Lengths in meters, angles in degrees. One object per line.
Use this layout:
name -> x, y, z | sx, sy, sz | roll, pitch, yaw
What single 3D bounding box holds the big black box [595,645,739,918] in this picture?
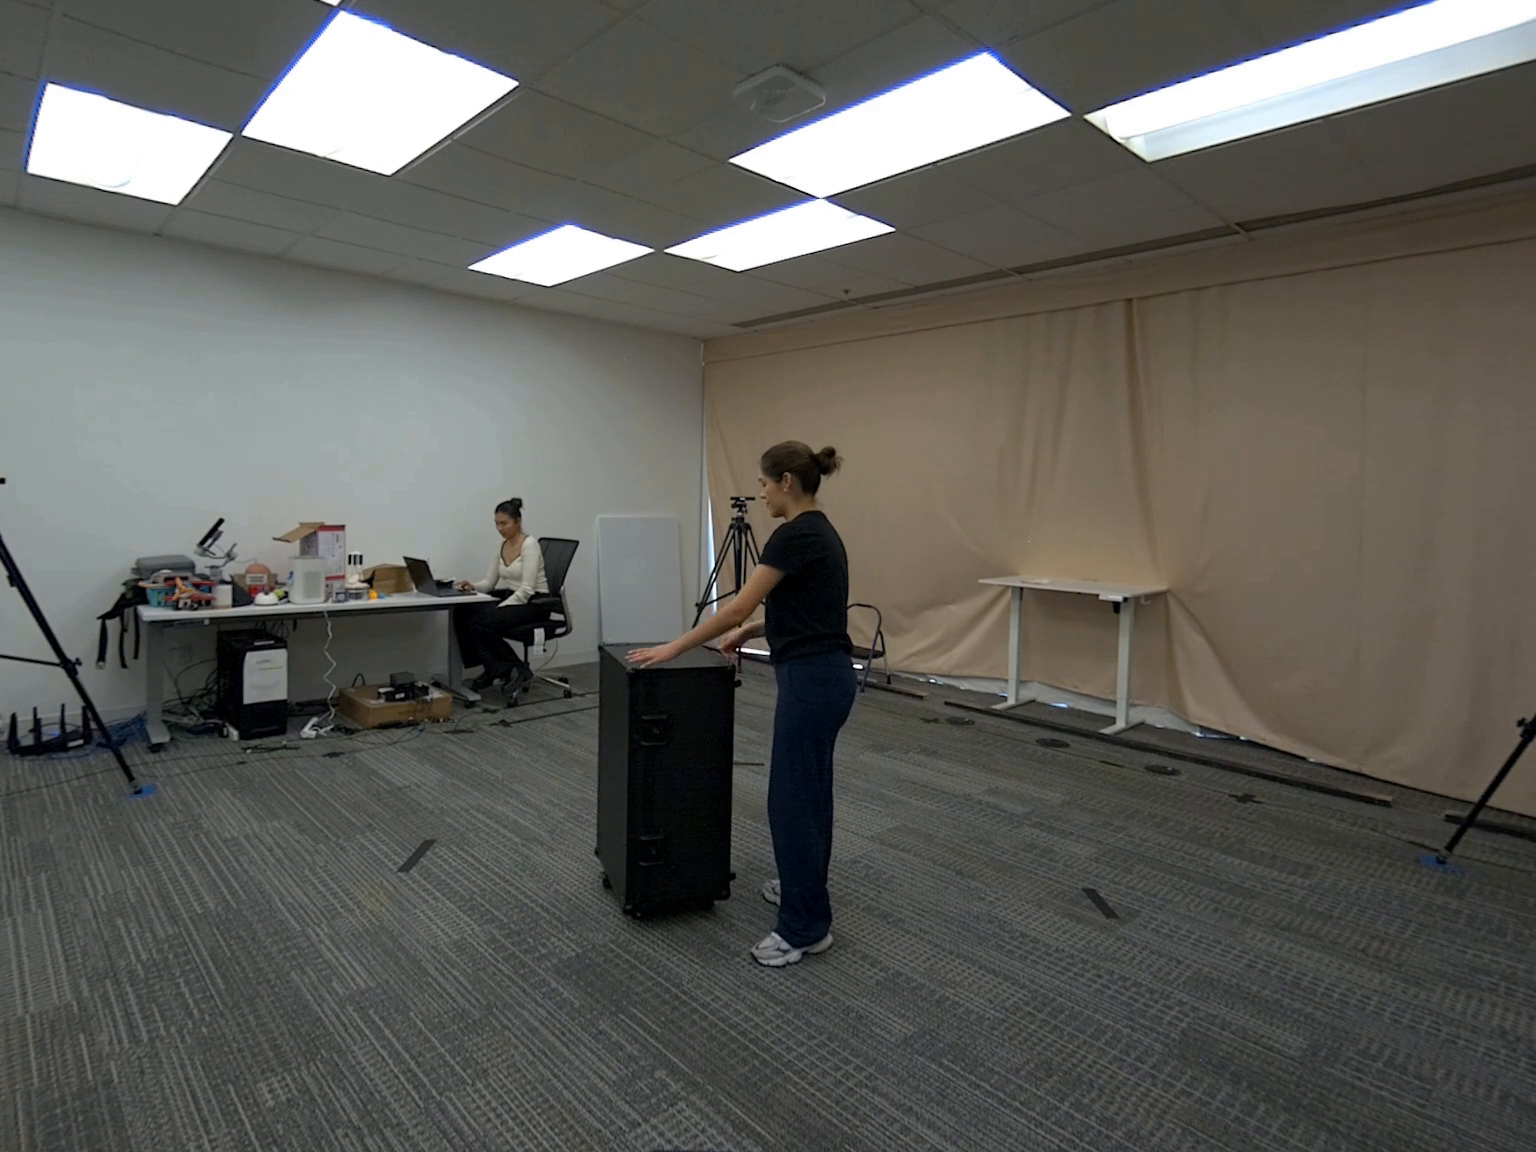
big black box -> -0.366, 0.692, 2.919 | 0.390, 0.859, 0.531 | 1, 4, -22
